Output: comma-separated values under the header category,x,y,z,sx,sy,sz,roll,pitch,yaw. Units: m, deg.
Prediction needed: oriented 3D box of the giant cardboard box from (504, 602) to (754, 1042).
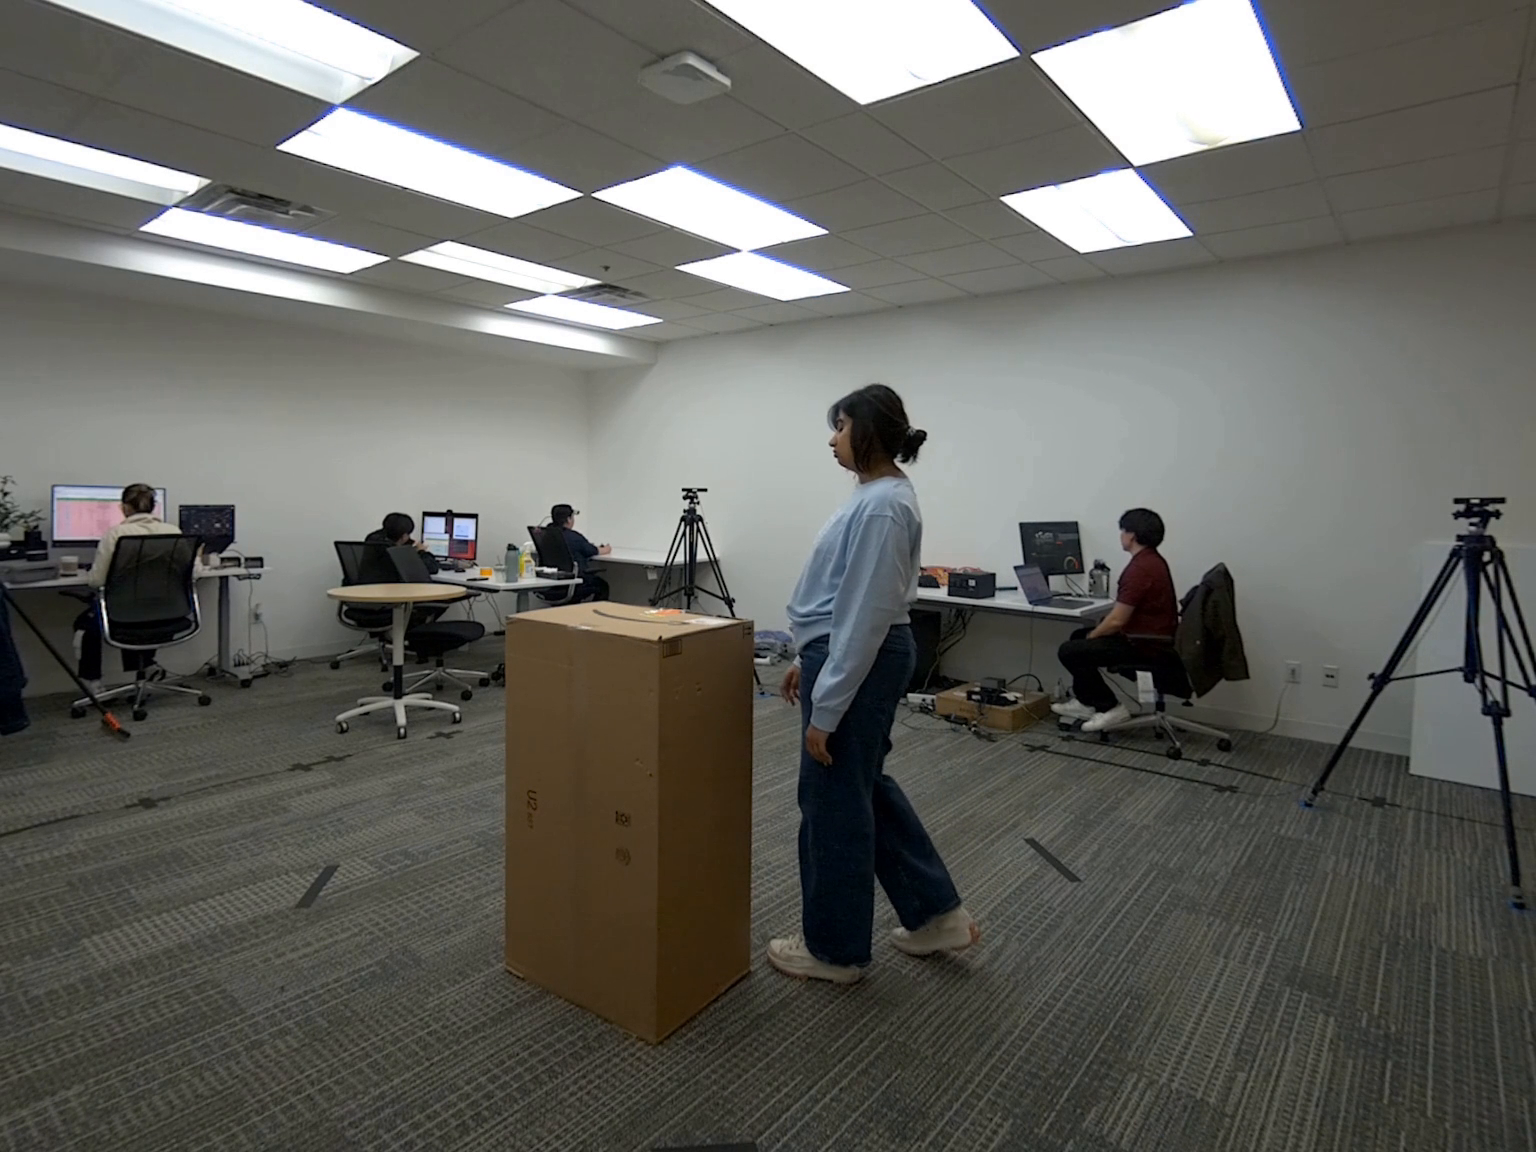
category,x,y,z,sx,sy,sz,roll,pitch,yaw
giant cardboard box,-0.405,0.622,2.429,0.603,1.024,0.434,3,4,36
